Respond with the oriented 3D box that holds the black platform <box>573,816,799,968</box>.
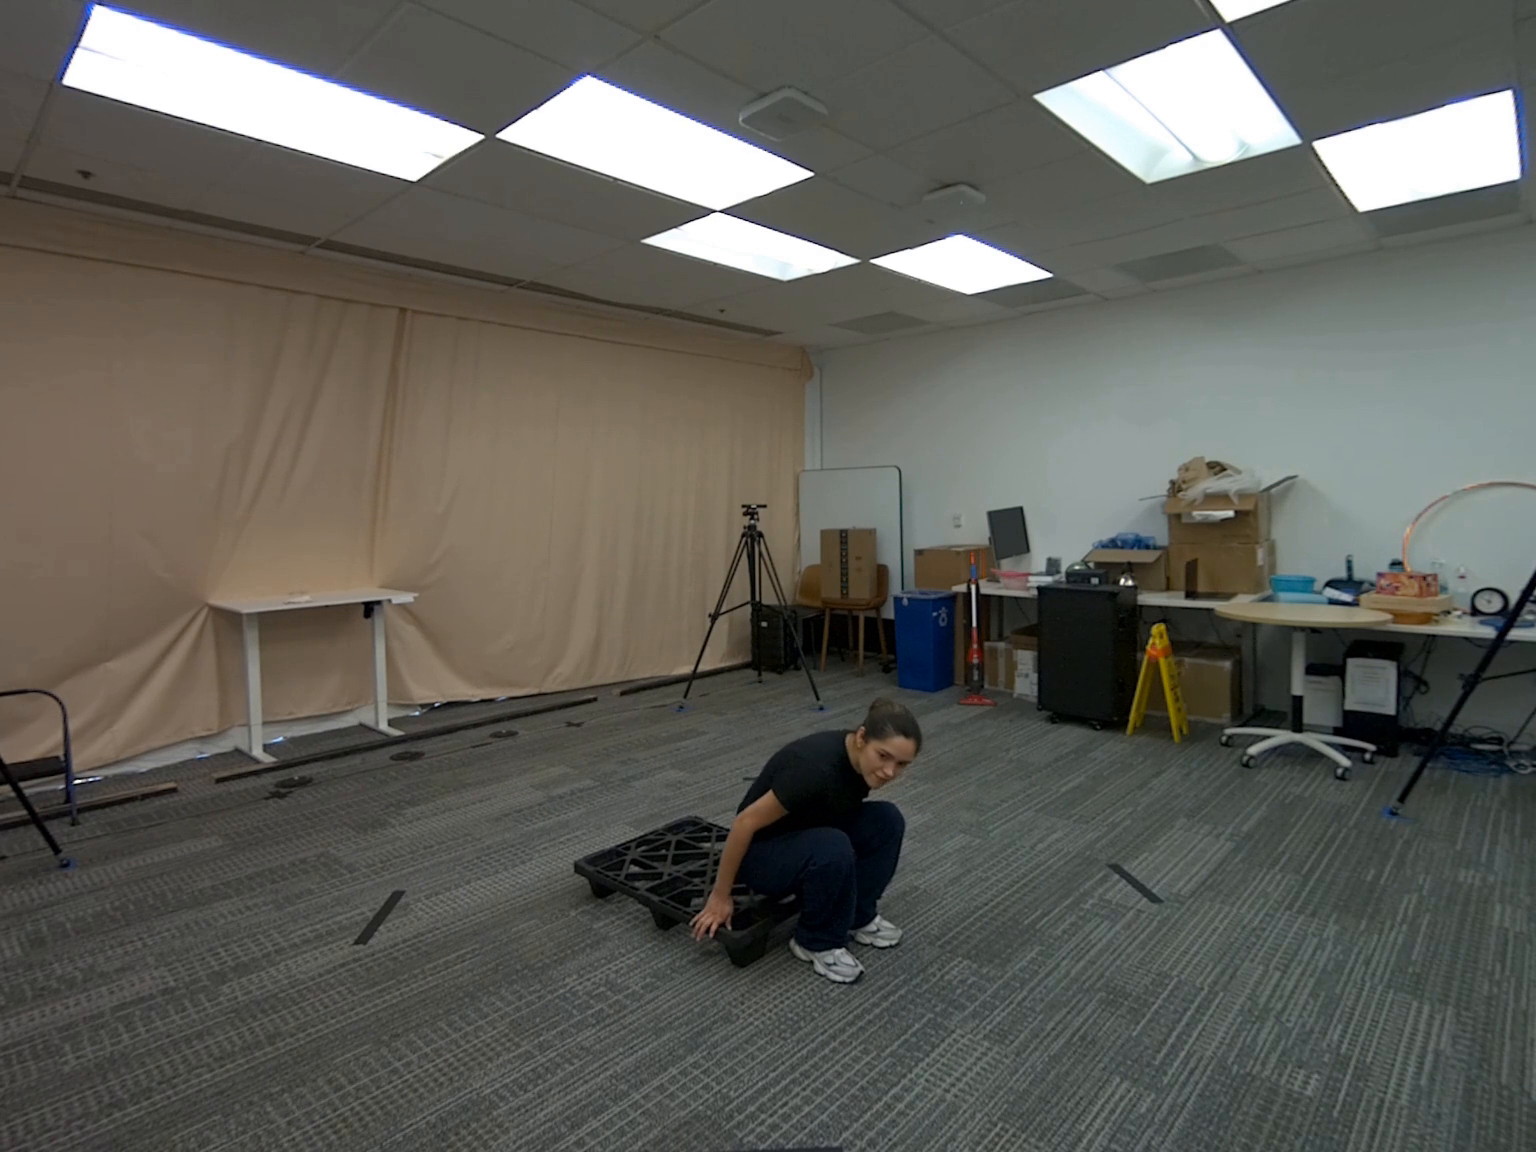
[{"bbox_3d":[-0.193,1.086,2.942,0.832,0.143,0.587,3,7,42],"label":"black platform"}]
